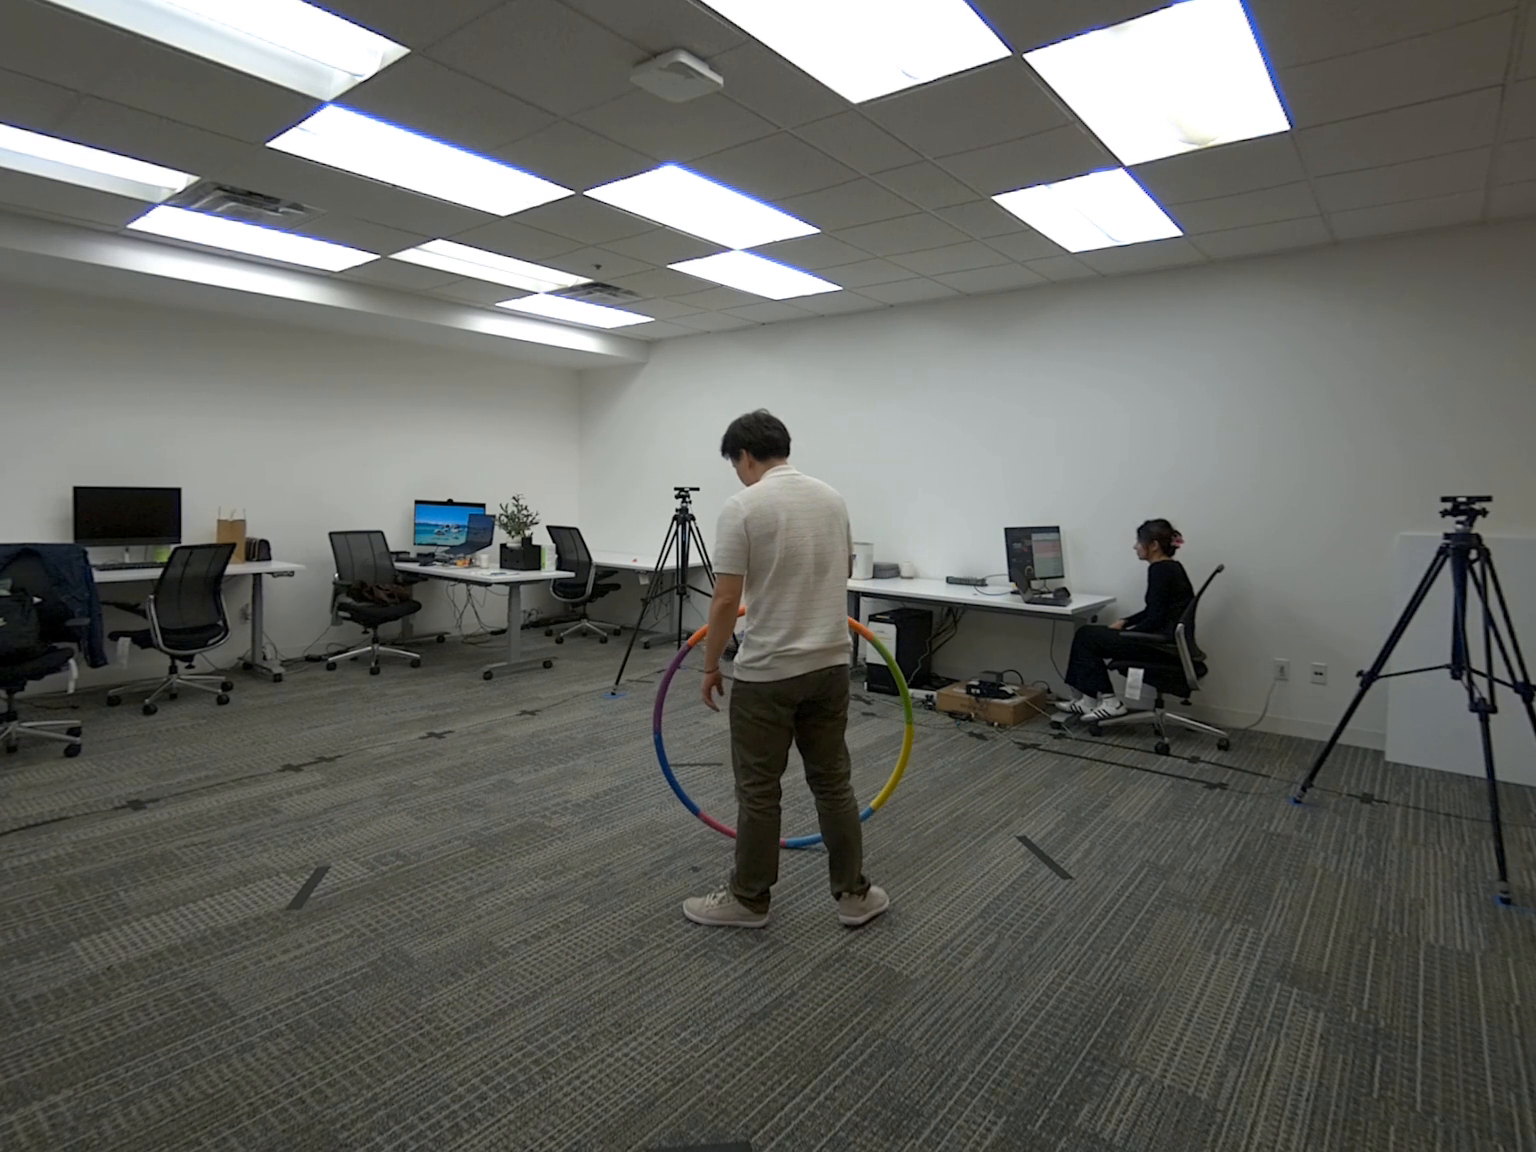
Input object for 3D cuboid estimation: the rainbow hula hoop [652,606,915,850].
[{"bbox_3d":[0.050,0.573,3.229,0.979,0.970,0.036,1,9,1],"label":"rainbow hula hoop"}]
